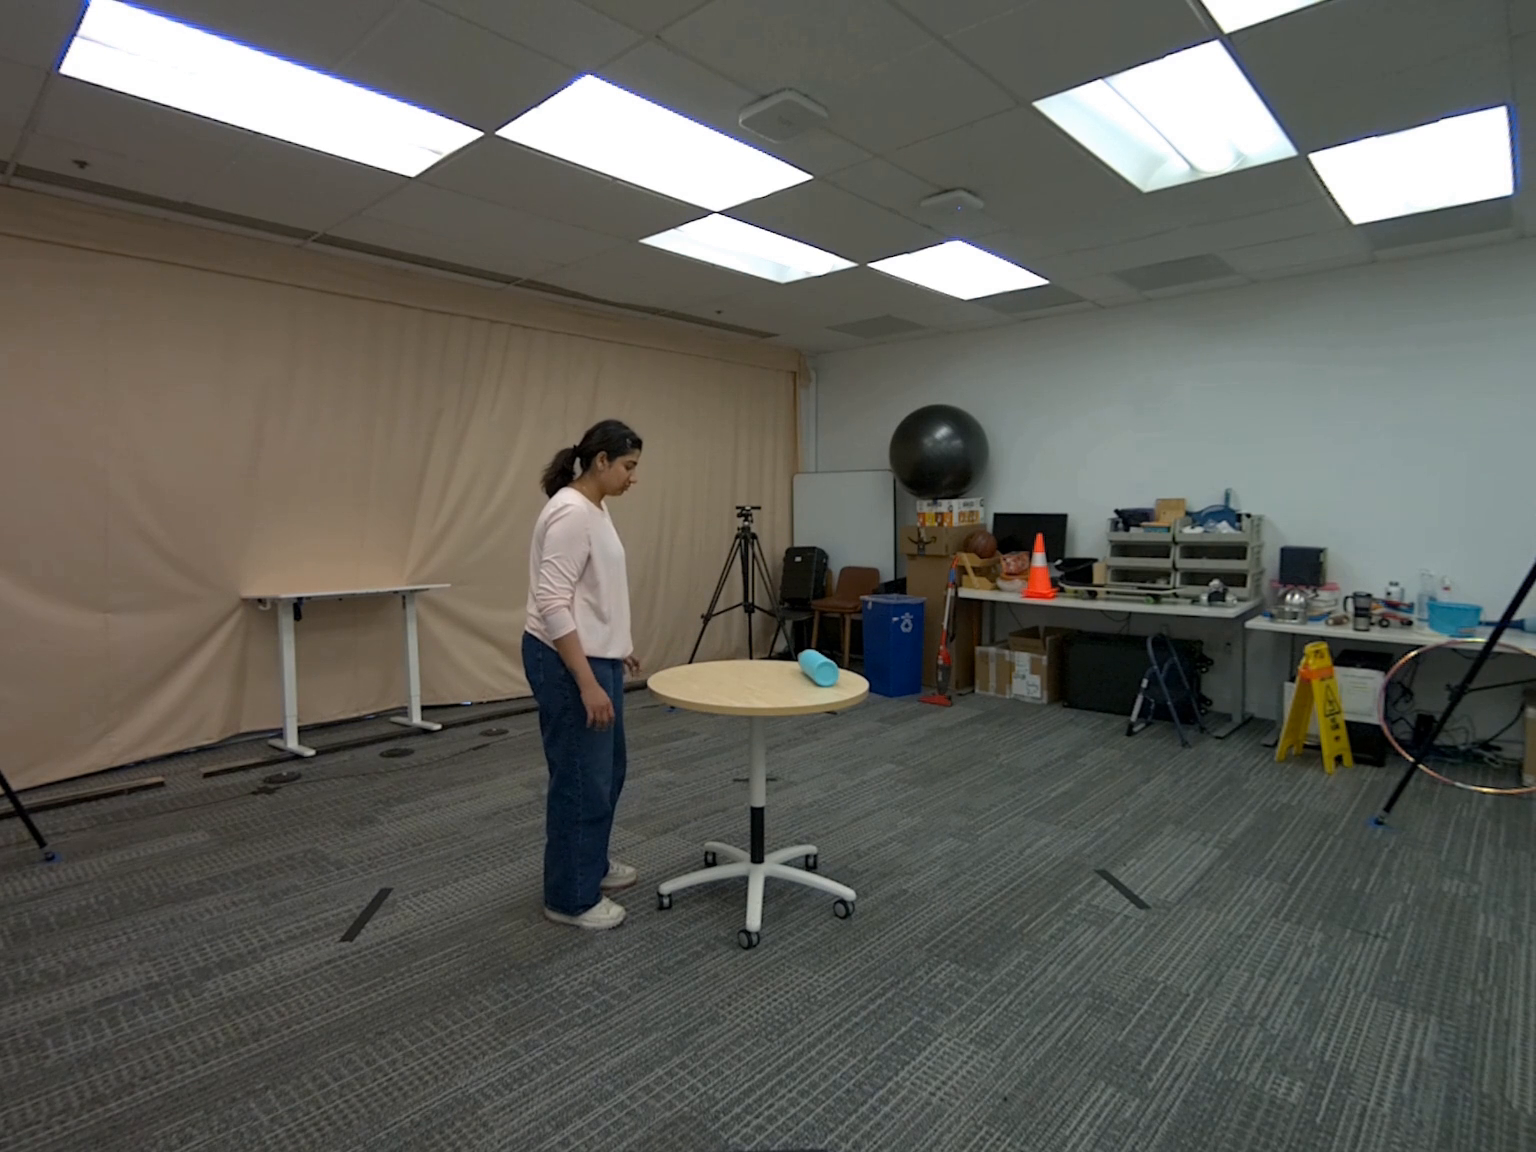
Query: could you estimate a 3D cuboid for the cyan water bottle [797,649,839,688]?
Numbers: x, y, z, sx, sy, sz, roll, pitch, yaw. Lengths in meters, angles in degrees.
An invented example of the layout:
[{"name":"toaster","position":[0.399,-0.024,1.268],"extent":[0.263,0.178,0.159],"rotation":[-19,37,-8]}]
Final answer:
[{"name":"cyan water bottle","position":[0.173,0.321,2.958],"extent":[0.091,0.092,0.286],"rotation":[-1,5,-9]}]
